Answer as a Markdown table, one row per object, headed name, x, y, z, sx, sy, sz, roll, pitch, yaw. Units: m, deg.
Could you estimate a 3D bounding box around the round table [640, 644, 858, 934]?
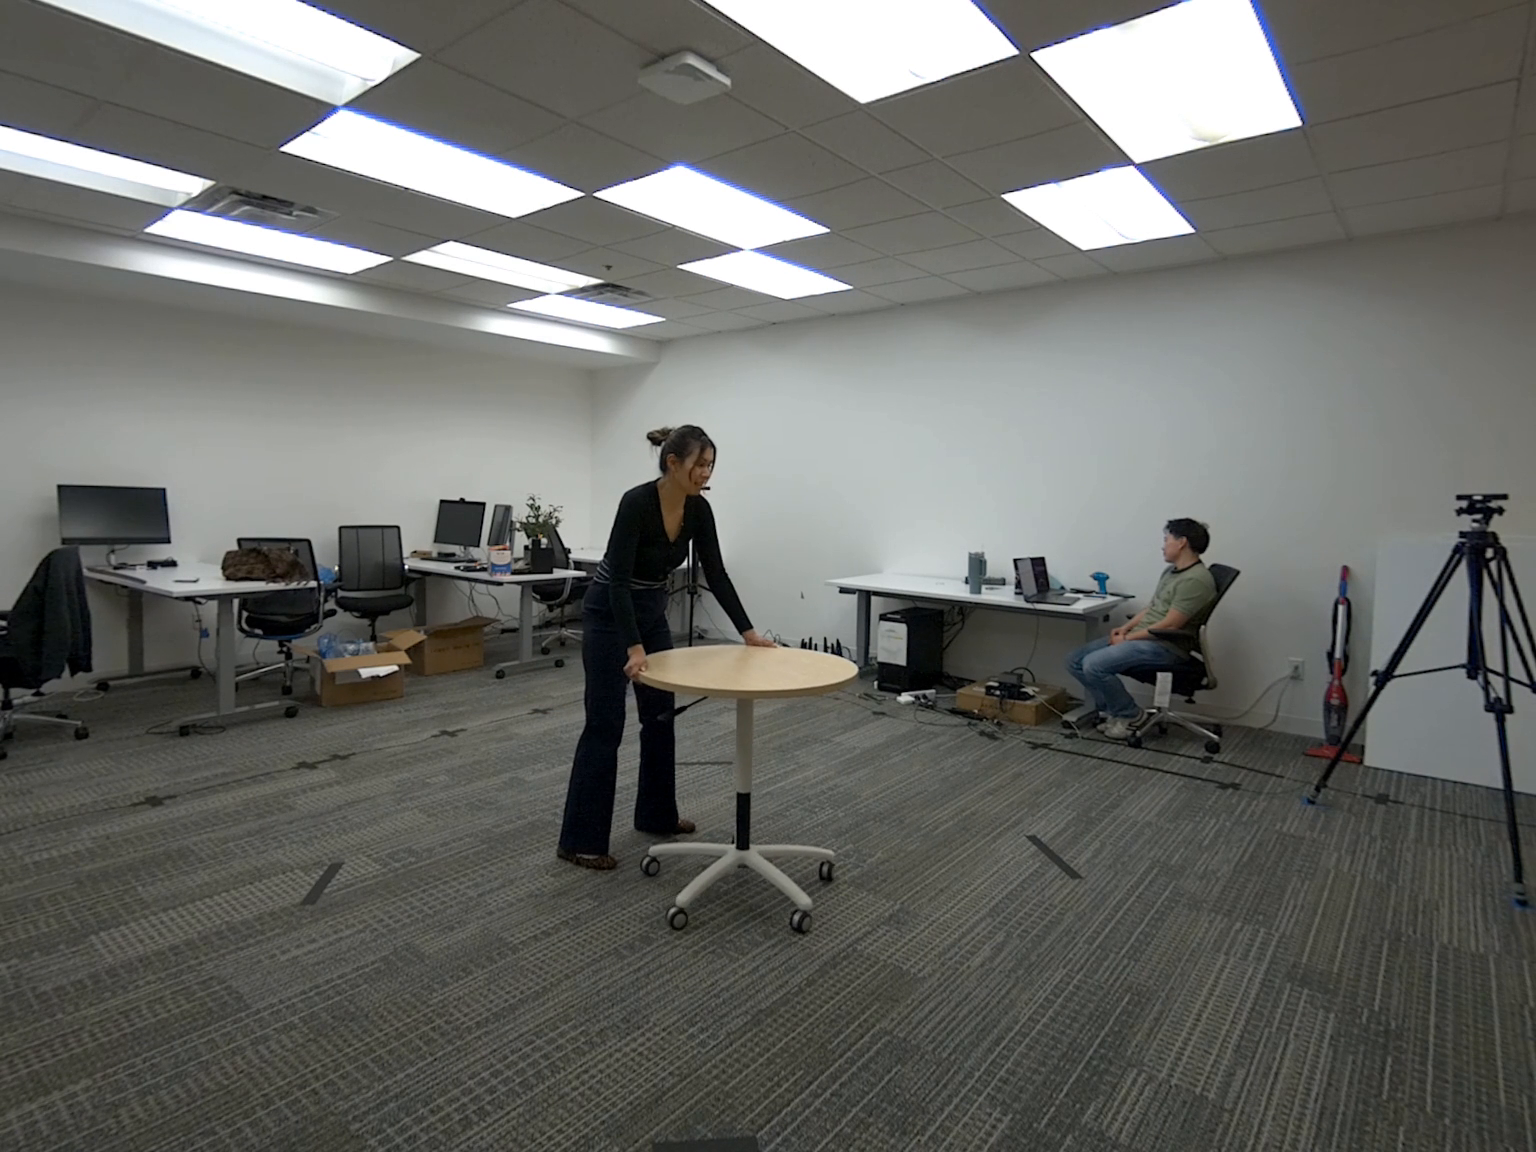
| name | x | y | z | sx | sy | sz | roll | pitch | yaw |
| --- | --- | --- | --- | --- | --- | --- | --- | --- | --- |
| round table | -0.097 | 0.694 | 2.945 | 0.763 | 0.791 | 0.768 | 1 | 4 | -2 |
